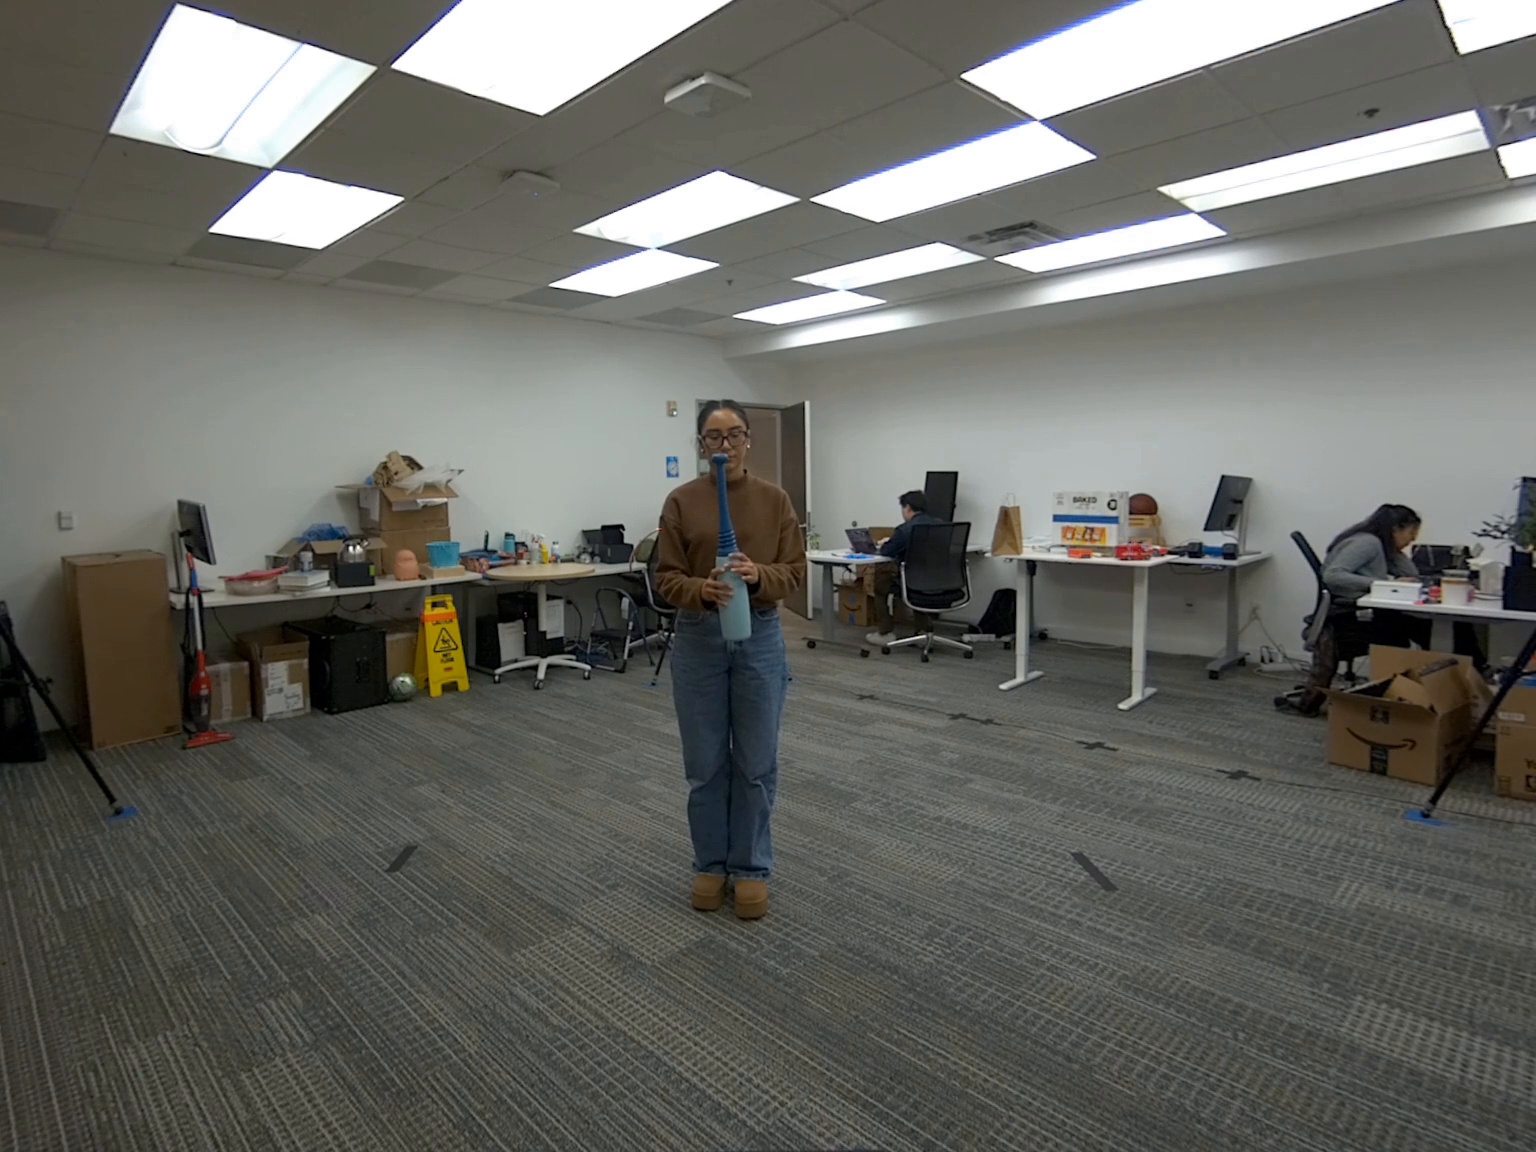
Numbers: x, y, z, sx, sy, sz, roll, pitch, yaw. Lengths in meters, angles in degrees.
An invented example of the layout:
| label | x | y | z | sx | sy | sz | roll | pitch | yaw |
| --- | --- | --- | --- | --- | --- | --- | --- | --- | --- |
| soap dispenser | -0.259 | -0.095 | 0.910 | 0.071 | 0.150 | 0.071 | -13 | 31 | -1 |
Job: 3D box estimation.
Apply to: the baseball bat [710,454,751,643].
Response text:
| label | x | y | z | sx | sy | sz | roll | pitch | yaw |
| --- | --- | --- | --- | --- | --- | --- | --- | --- | --- |
| baseball bat | -0.126 | -0.069 | 2.454 | 0.089 | 0.539 | 0.090 | -5 | 8 | -1 |
